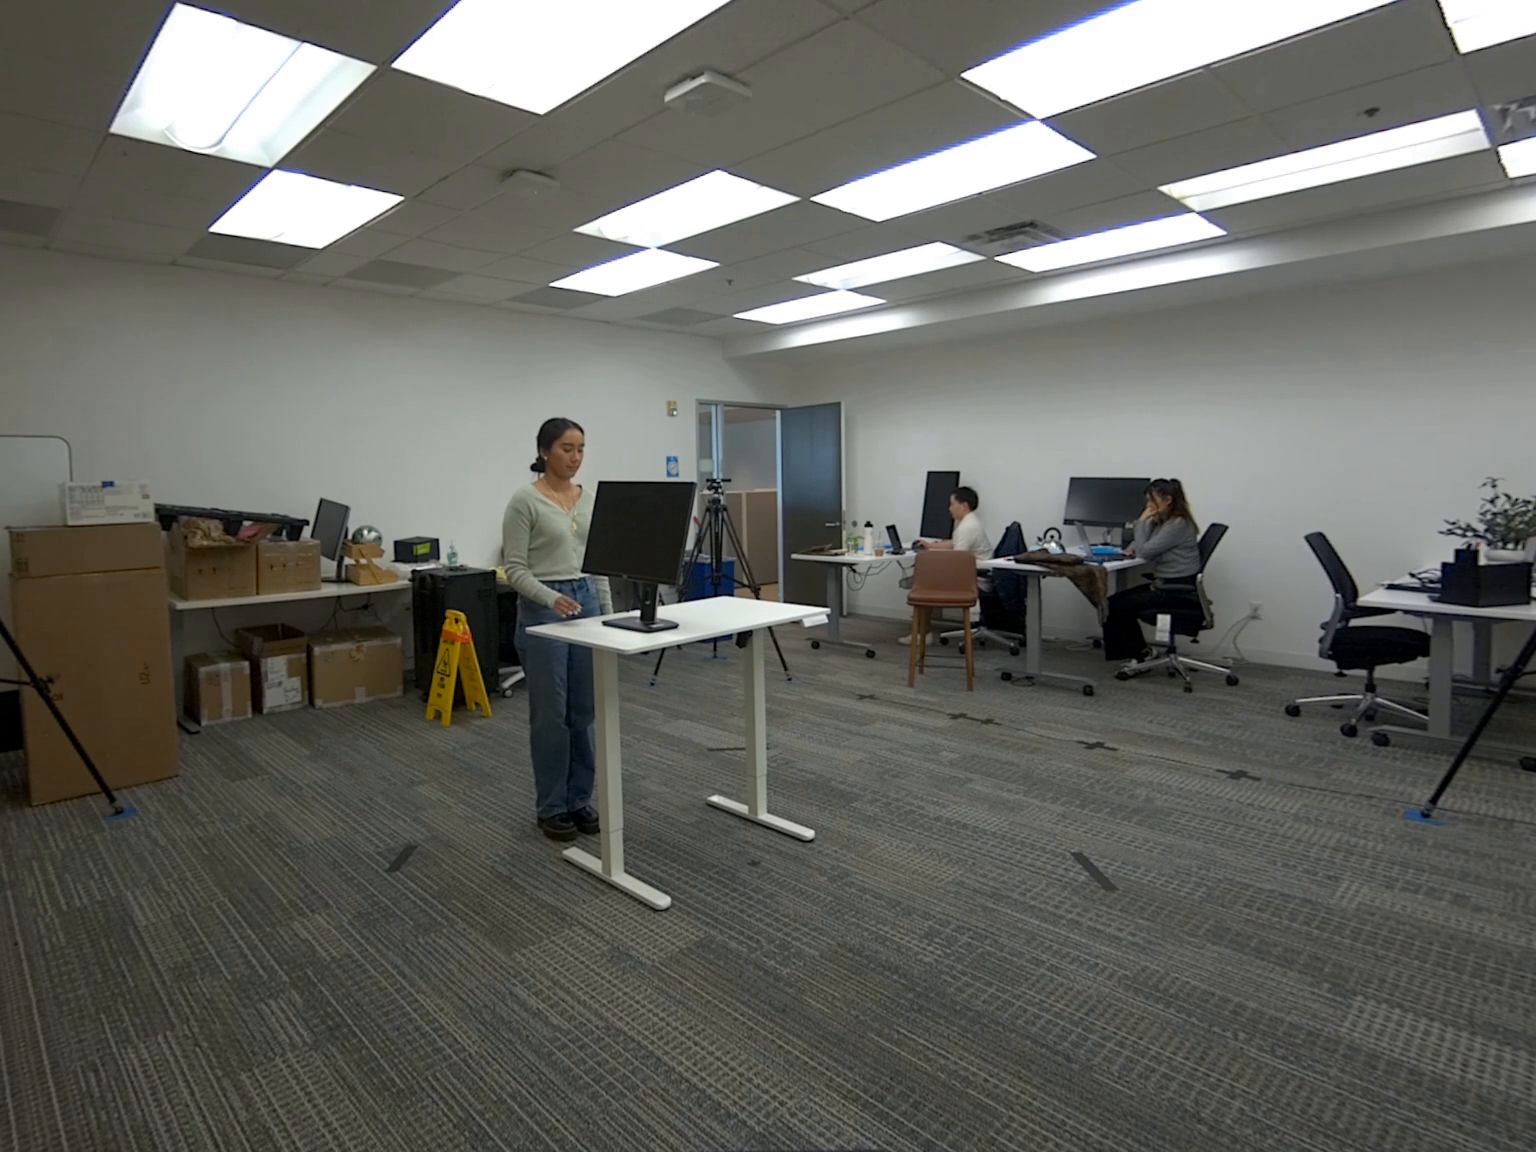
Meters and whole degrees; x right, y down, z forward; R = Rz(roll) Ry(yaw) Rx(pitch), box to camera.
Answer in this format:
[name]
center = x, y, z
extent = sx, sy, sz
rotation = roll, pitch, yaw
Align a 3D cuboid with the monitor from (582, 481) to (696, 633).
[monitor]
center = -0.451, -0.079, 3.031
extent = 0.547, 0.513, 0.170
rotation = 6, 10, 43
